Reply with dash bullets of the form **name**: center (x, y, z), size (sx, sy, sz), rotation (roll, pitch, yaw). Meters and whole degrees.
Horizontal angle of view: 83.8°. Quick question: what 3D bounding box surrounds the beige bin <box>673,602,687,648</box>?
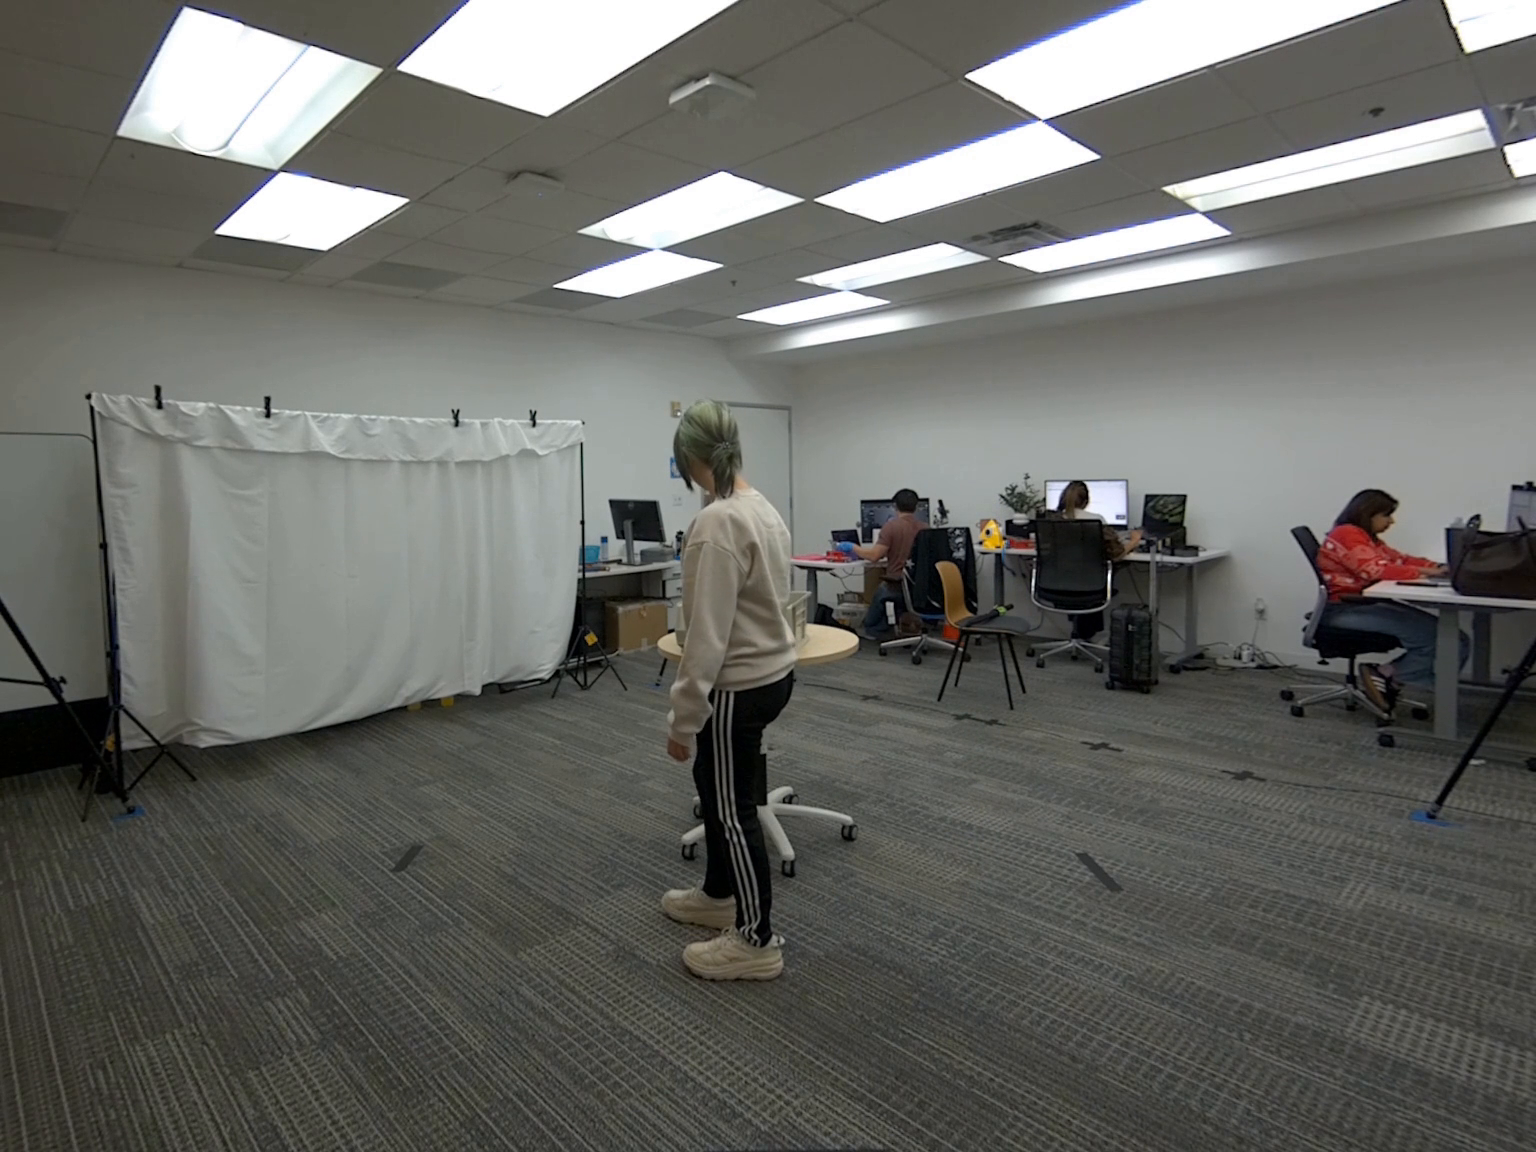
- **beige bin**: center (-0.078, 0.167, 3.144), size (0.429, 0.188, 0.372), rotation (0, 4, 16)
